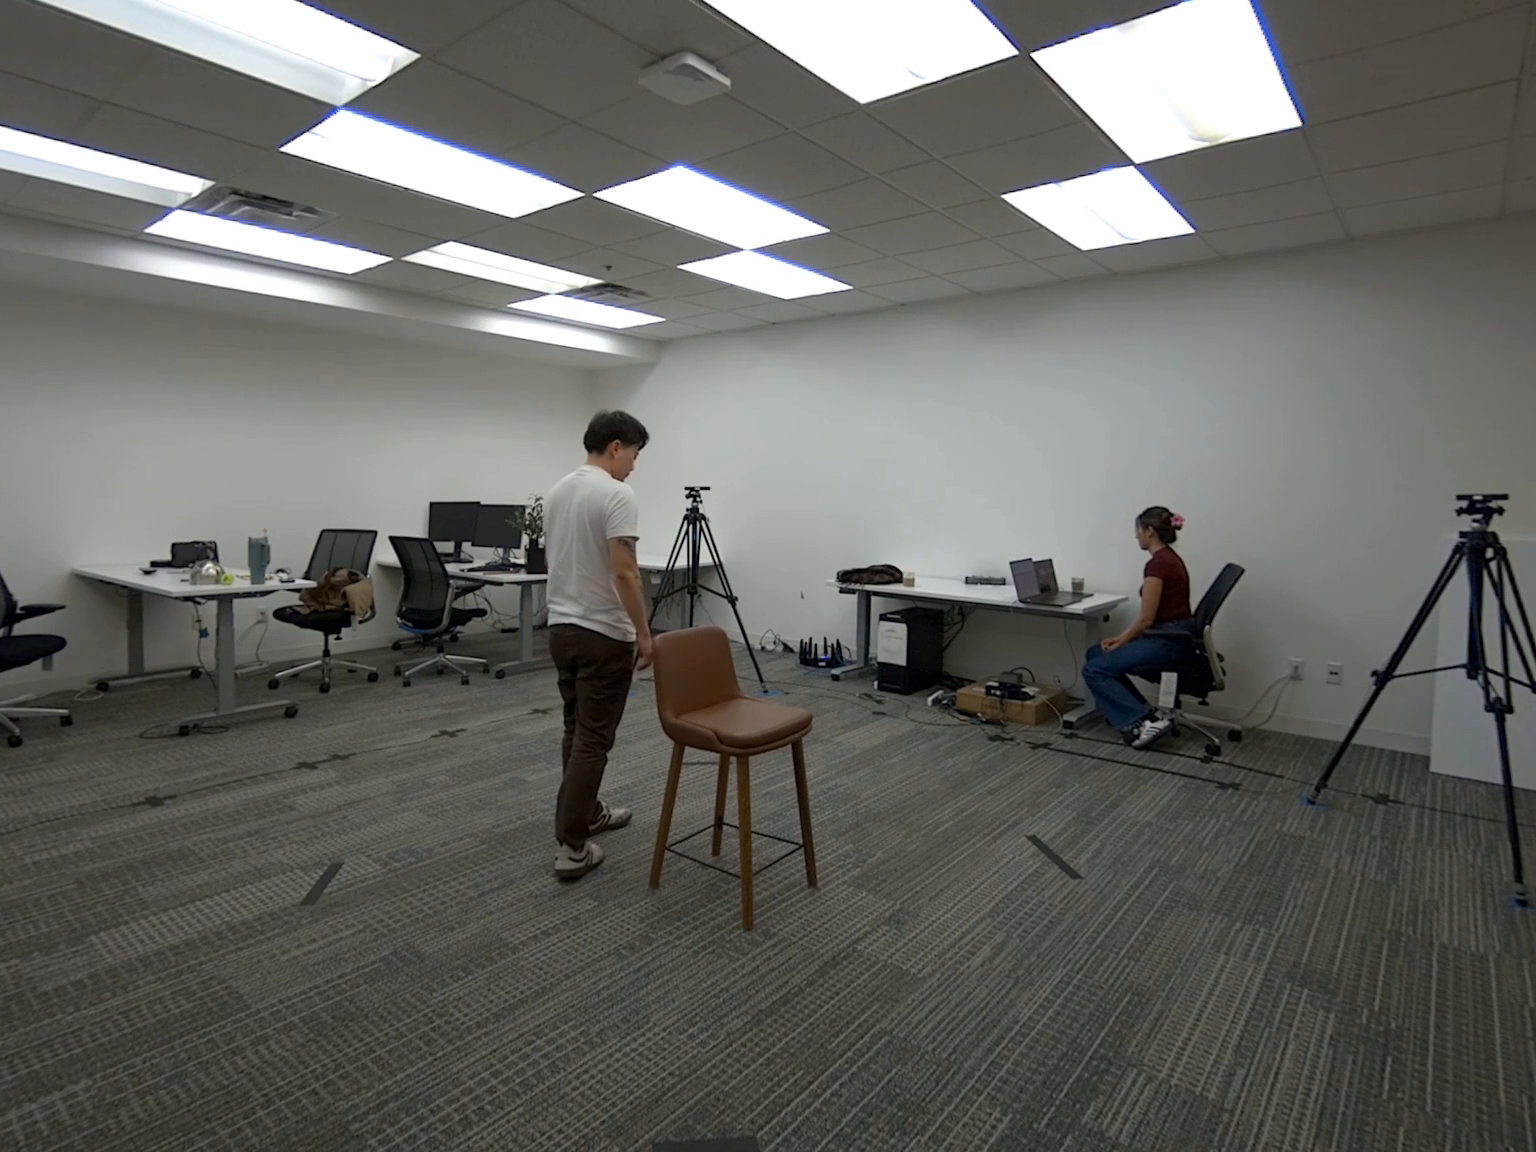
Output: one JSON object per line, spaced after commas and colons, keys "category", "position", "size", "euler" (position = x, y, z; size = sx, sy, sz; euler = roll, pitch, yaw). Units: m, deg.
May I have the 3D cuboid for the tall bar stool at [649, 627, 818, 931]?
{"category": "tall bar stool", "position": [-0.134, 0.643, 2.945], "size": [0.482, 0.889, 0.443], "euler": [0, 2, 37]}
